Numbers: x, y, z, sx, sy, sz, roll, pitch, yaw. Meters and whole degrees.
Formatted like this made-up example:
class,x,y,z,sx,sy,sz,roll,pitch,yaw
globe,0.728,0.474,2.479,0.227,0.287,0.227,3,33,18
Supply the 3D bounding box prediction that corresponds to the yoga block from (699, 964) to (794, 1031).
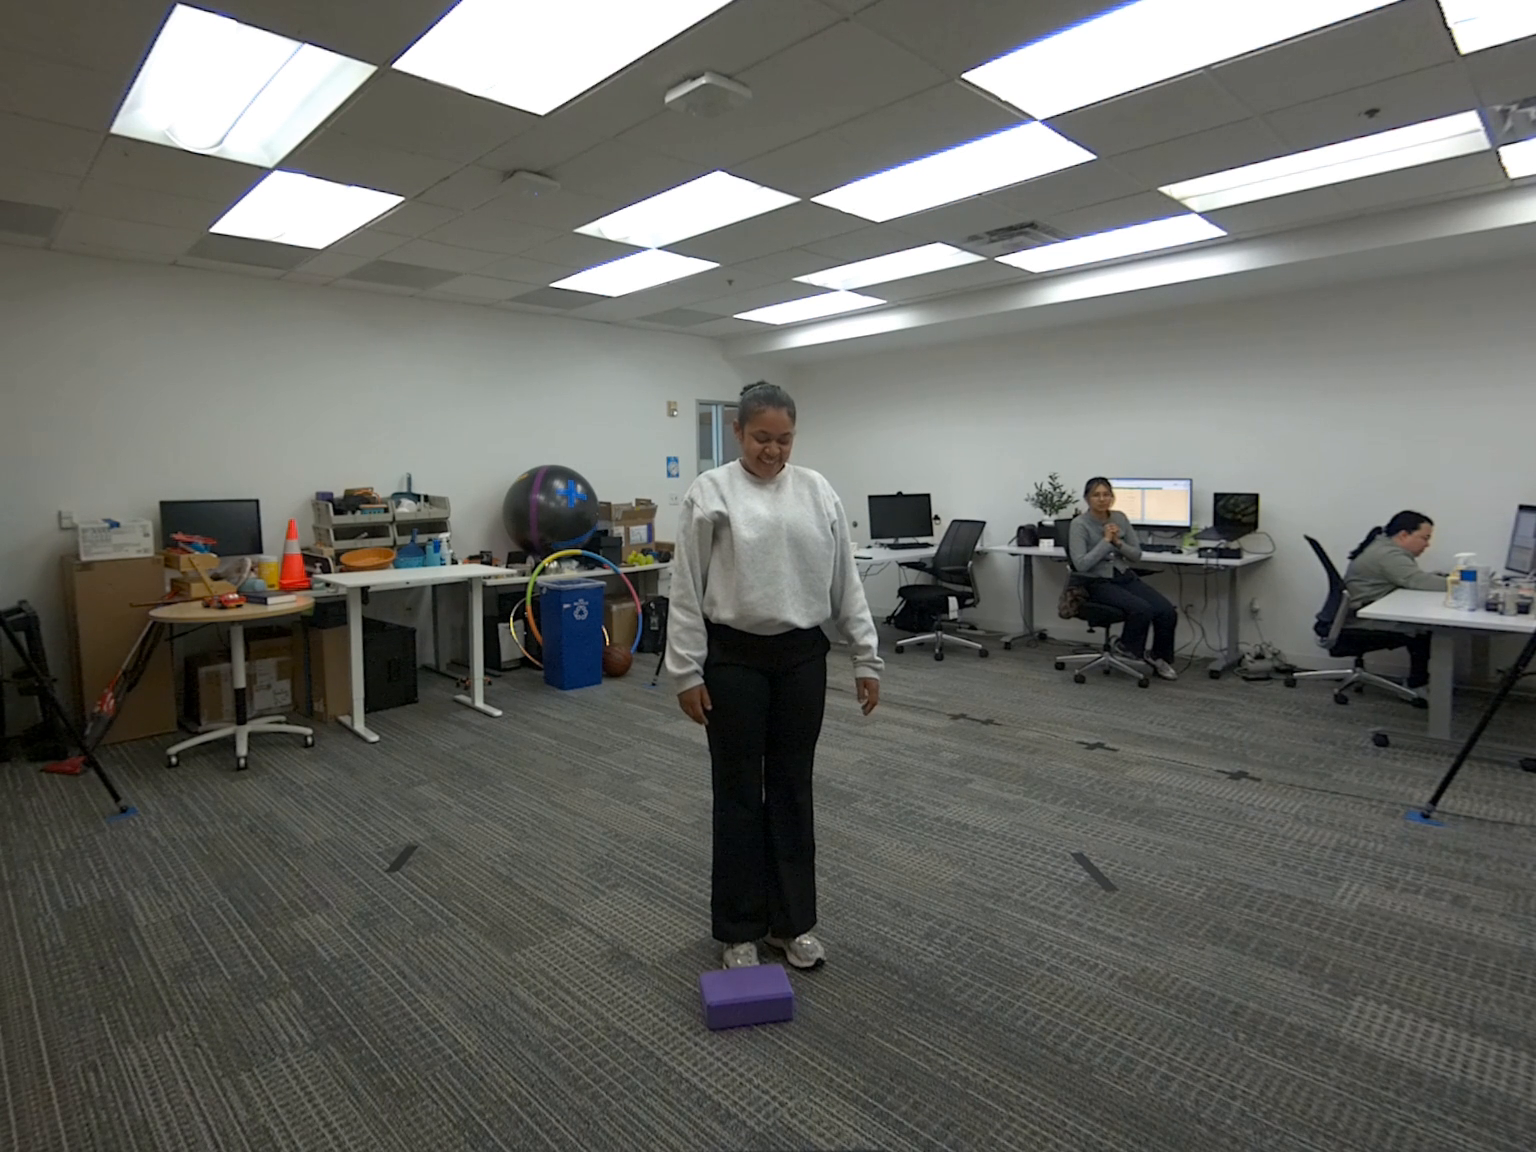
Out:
class,x,y,z,sx,sy,sz,roll,pitch,yaw
yoga block,-0.055,1.111,2.254,0.227,0.076,0.151,-2,5,-9
